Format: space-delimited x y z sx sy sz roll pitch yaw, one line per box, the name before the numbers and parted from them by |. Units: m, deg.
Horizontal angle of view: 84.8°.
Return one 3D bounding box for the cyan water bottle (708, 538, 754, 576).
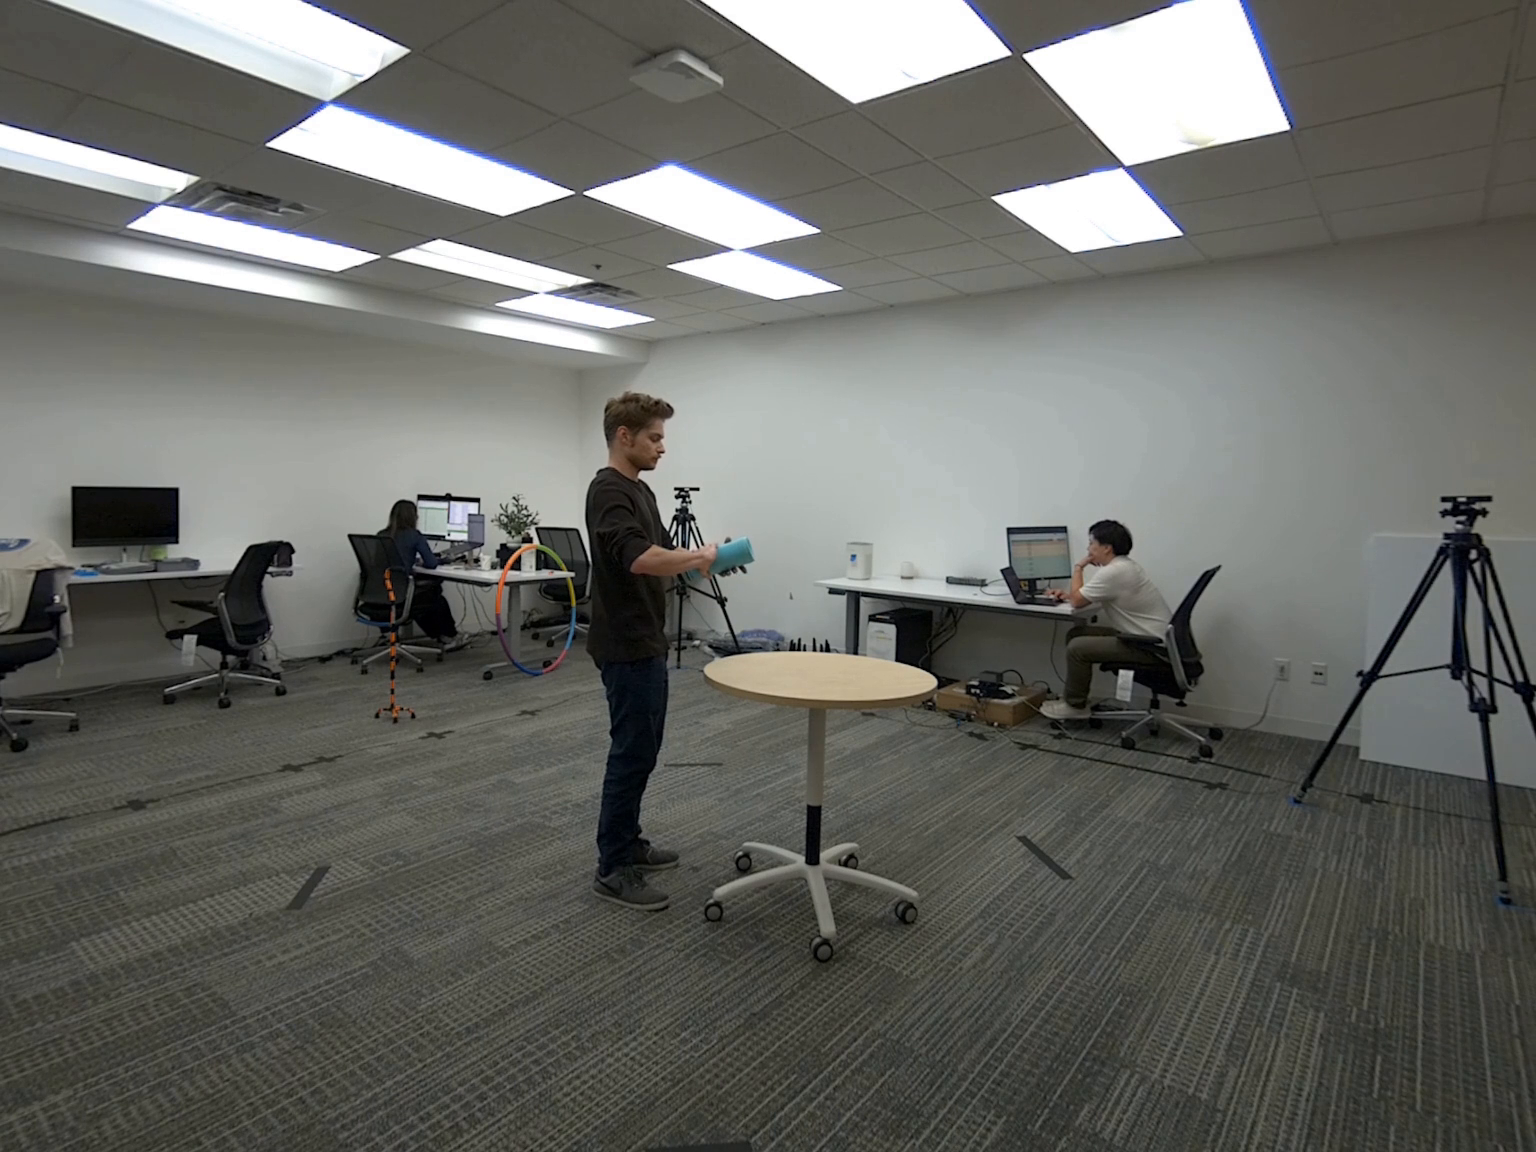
cyan water bottle | -0.203 -0.053 2.891 0.282 0.092 0.093 -16 6 -4
